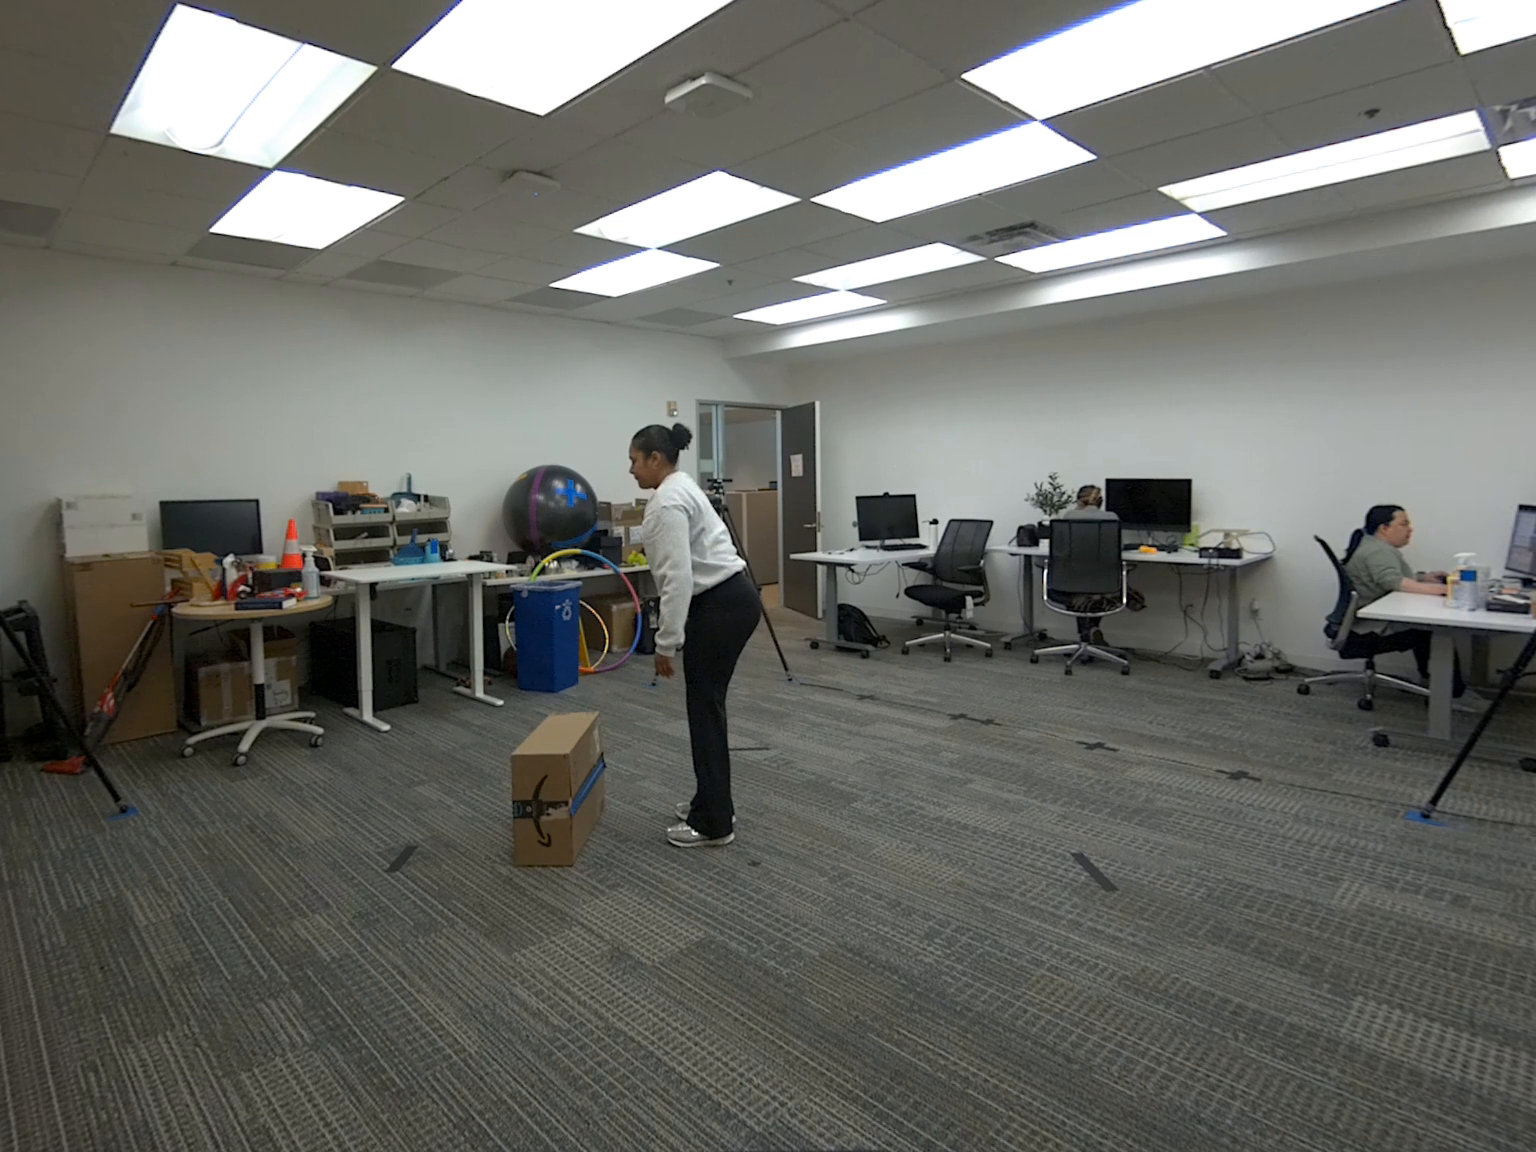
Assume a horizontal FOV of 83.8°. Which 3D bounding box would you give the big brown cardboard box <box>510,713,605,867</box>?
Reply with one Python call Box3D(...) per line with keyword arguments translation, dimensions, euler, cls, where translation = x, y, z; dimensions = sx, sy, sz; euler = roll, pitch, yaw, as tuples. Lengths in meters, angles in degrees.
Box3D(translation=(-0.817, 0.821, 3.389), dimensions=(0.234, 0.416, 0.590), euler=(-2, 5, 2), cls="big brown cardboard box")
